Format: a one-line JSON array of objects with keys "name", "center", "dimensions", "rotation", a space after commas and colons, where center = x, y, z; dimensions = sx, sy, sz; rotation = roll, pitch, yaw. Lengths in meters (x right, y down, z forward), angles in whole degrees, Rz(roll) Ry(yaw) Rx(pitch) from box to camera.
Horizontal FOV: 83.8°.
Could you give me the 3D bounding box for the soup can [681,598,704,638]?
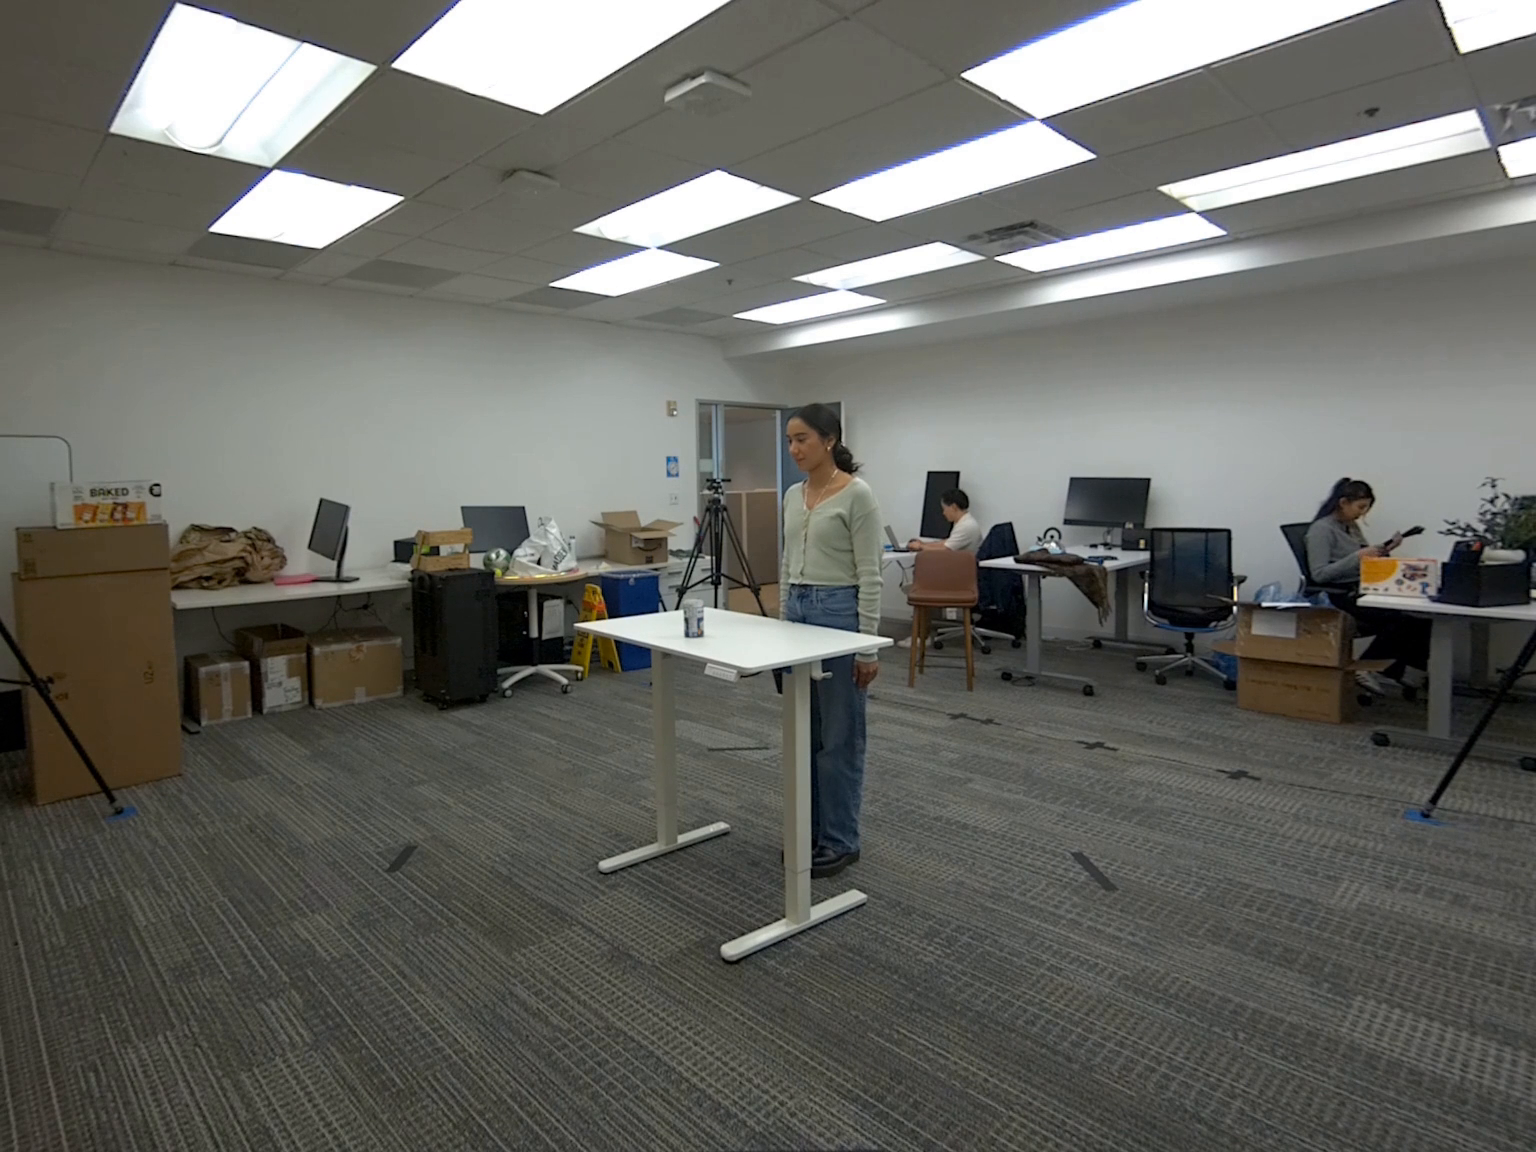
[{"name": "soup can", "center": [-0.243, 0.142, 2.798], "dimensions": [0.067, 0.121, 0.067], "rotation": [0, 4, -2]}]
